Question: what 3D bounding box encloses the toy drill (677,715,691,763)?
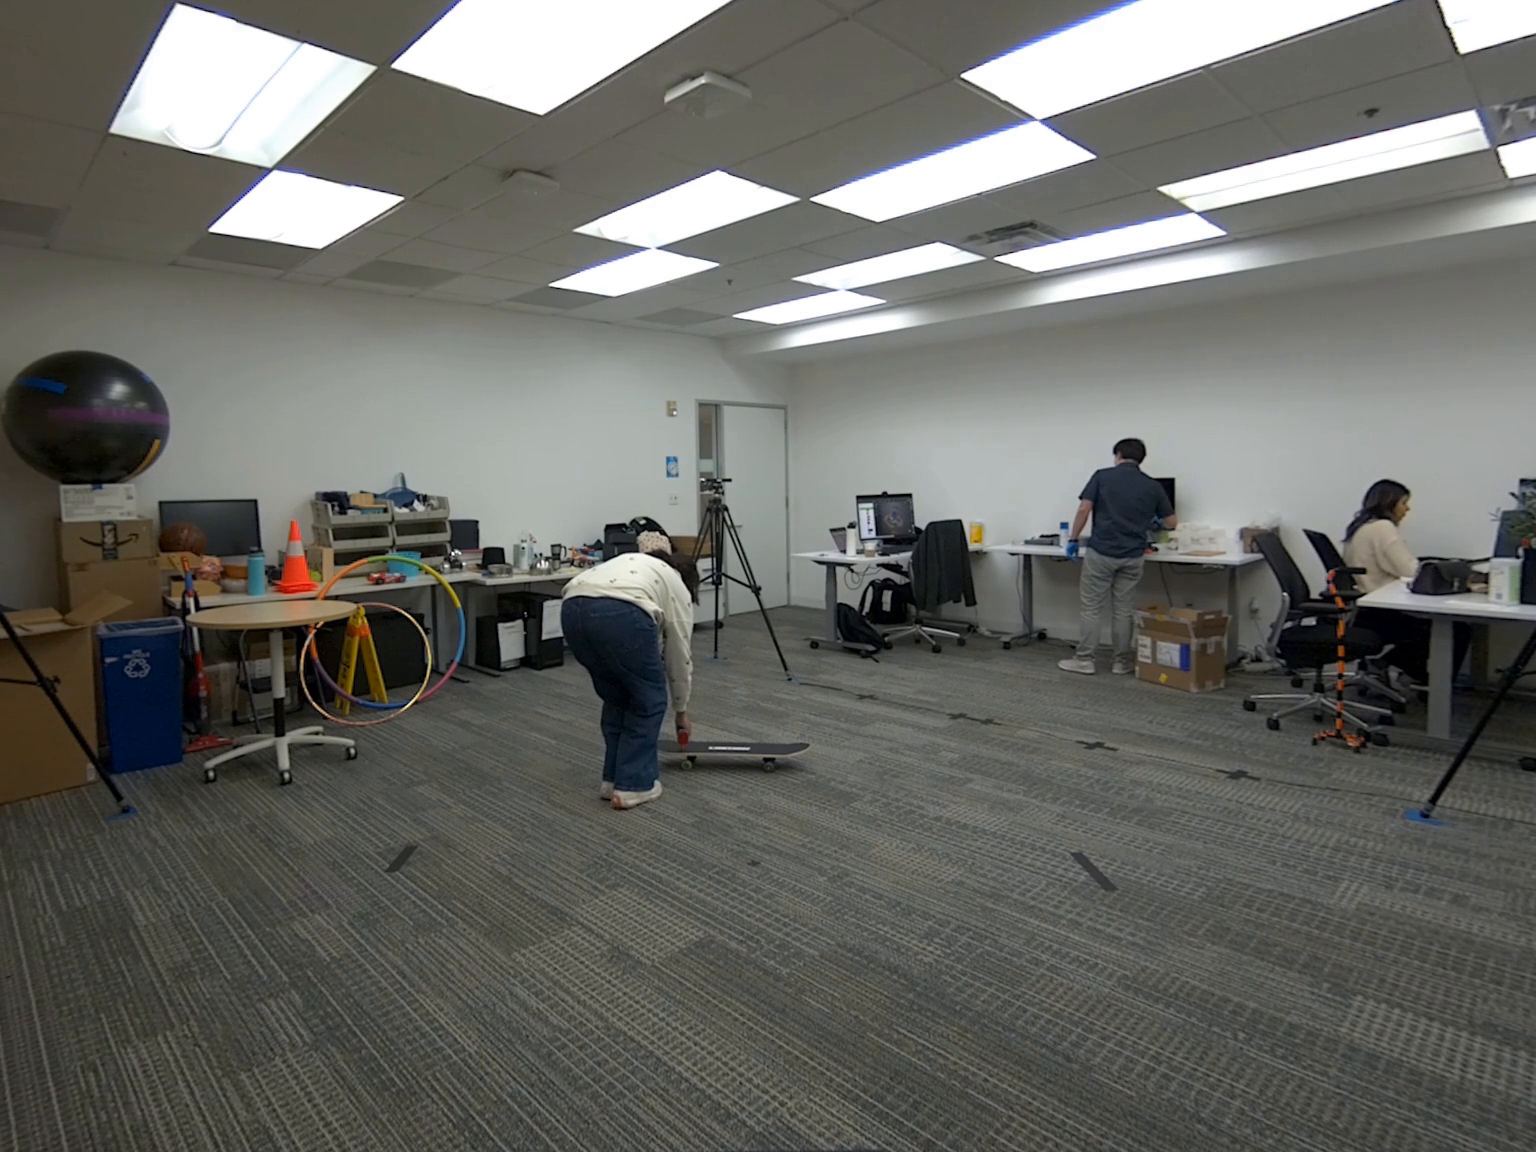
[{"bbox_3d":[-0.406,0.781,4.126,0.061,0.167,0.149,0,18,-5],"label":"toy drill"}]
